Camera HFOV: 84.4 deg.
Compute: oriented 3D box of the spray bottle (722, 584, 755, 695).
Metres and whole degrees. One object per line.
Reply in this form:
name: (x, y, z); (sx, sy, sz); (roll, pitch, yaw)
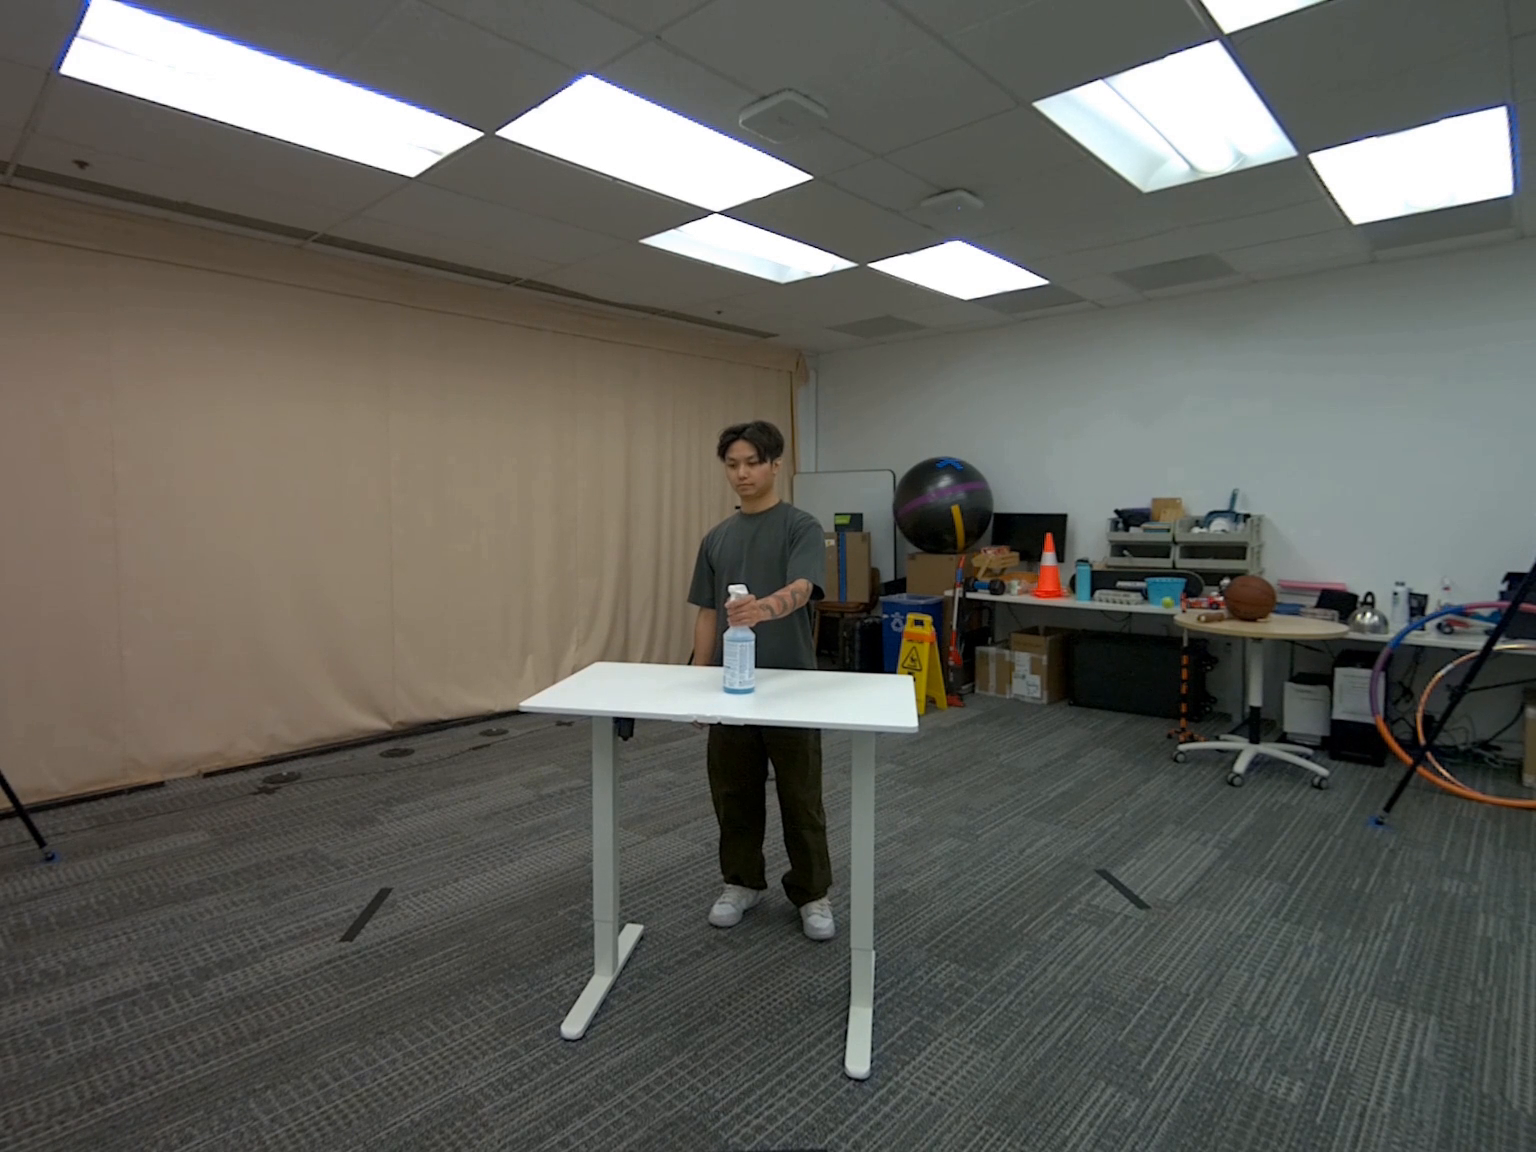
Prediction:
spray bottle: (-0.081, 0.174, 2.315); (0.087, 0.296, 0.090); (-5, 6, -38)
